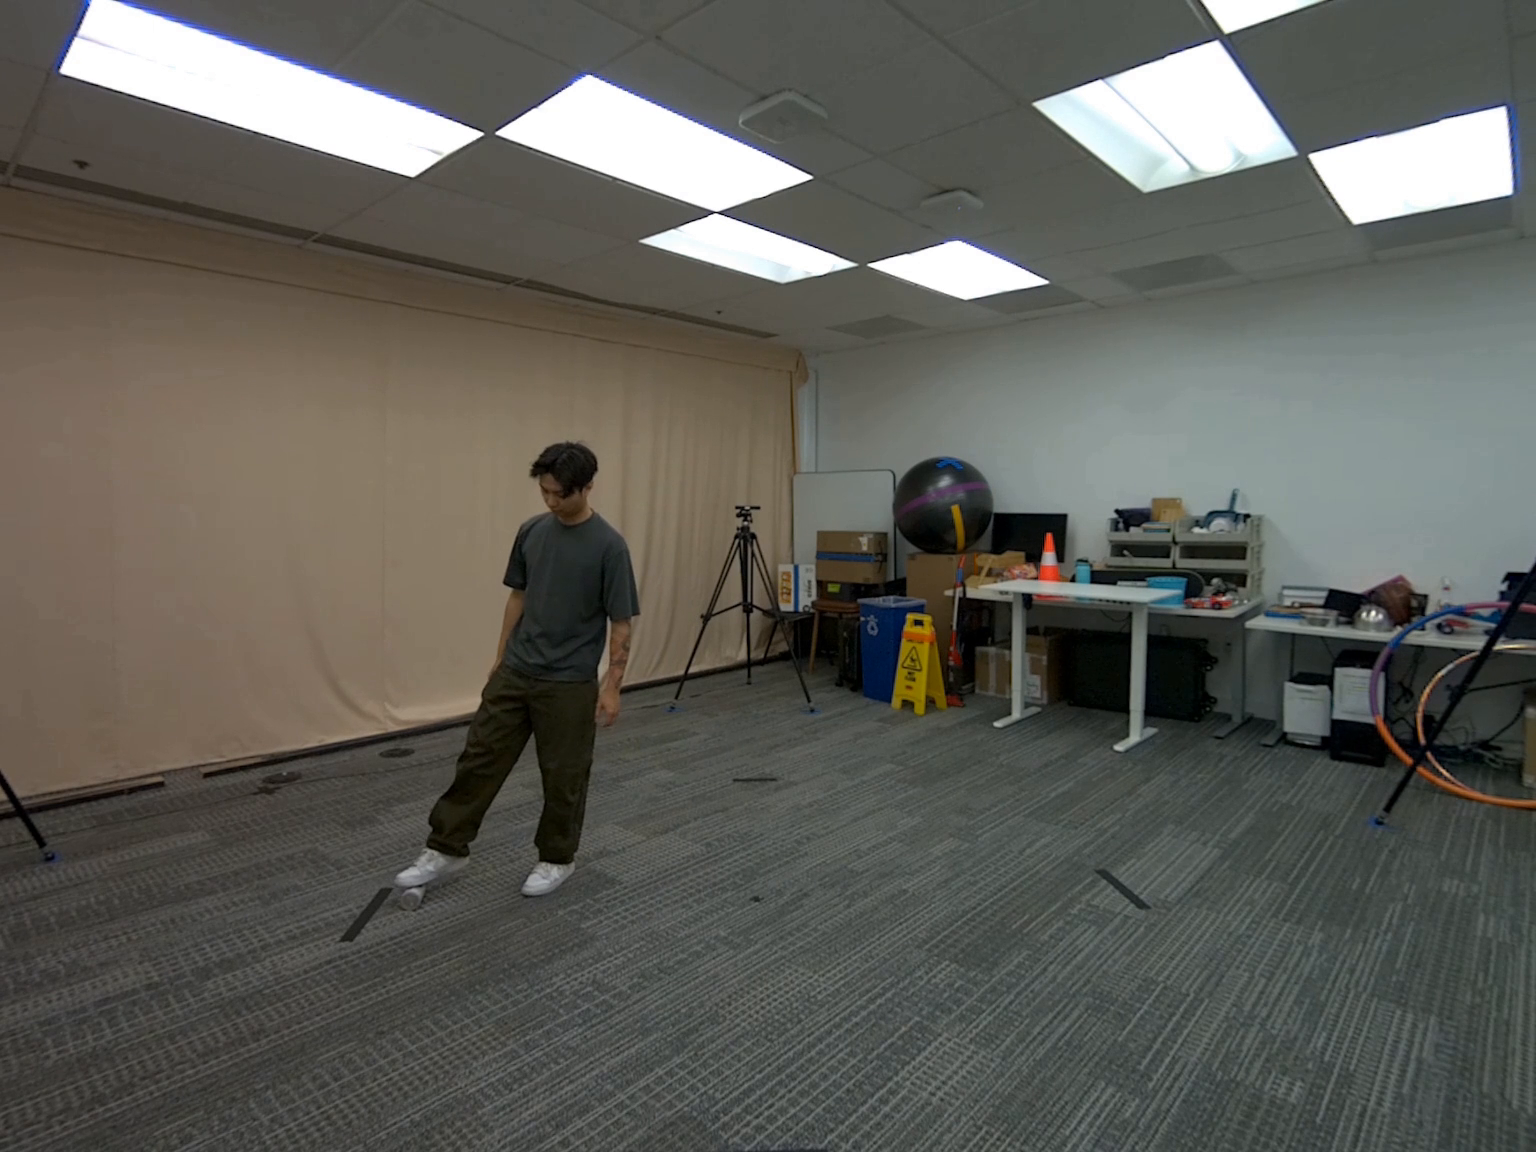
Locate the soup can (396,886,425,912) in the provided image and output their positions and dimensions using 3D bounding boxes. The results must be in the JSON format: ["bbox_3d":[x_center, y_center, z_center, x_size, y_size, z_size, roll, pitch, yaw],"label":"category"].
[{"bbox_3d":[-1.241,1.117,2.980,0.067,0.067,0.122,0,-1,-4],"label":"soup can"}]
